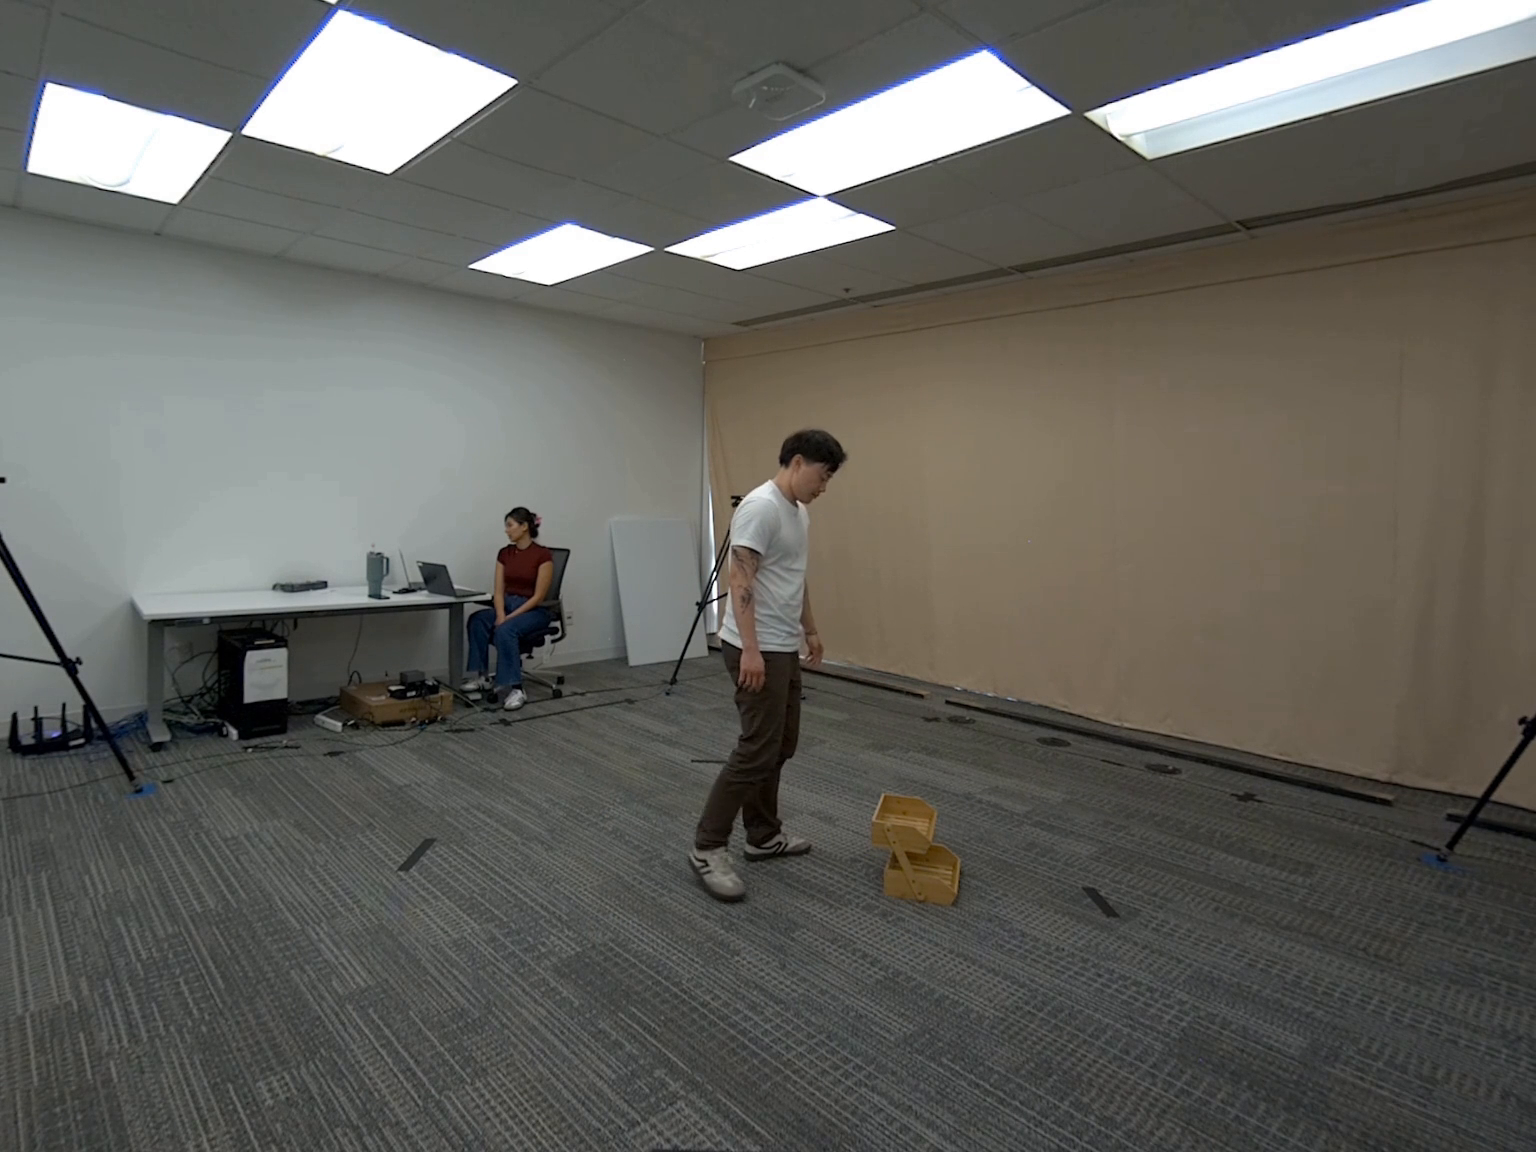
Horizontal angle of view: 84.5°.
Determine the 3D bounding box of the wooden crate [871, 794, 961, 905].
[{"bbox_3d":[0.541,0.991,3.072,0.306,0.272,0.321,2,4,15],"label":"wooden crate"}]
